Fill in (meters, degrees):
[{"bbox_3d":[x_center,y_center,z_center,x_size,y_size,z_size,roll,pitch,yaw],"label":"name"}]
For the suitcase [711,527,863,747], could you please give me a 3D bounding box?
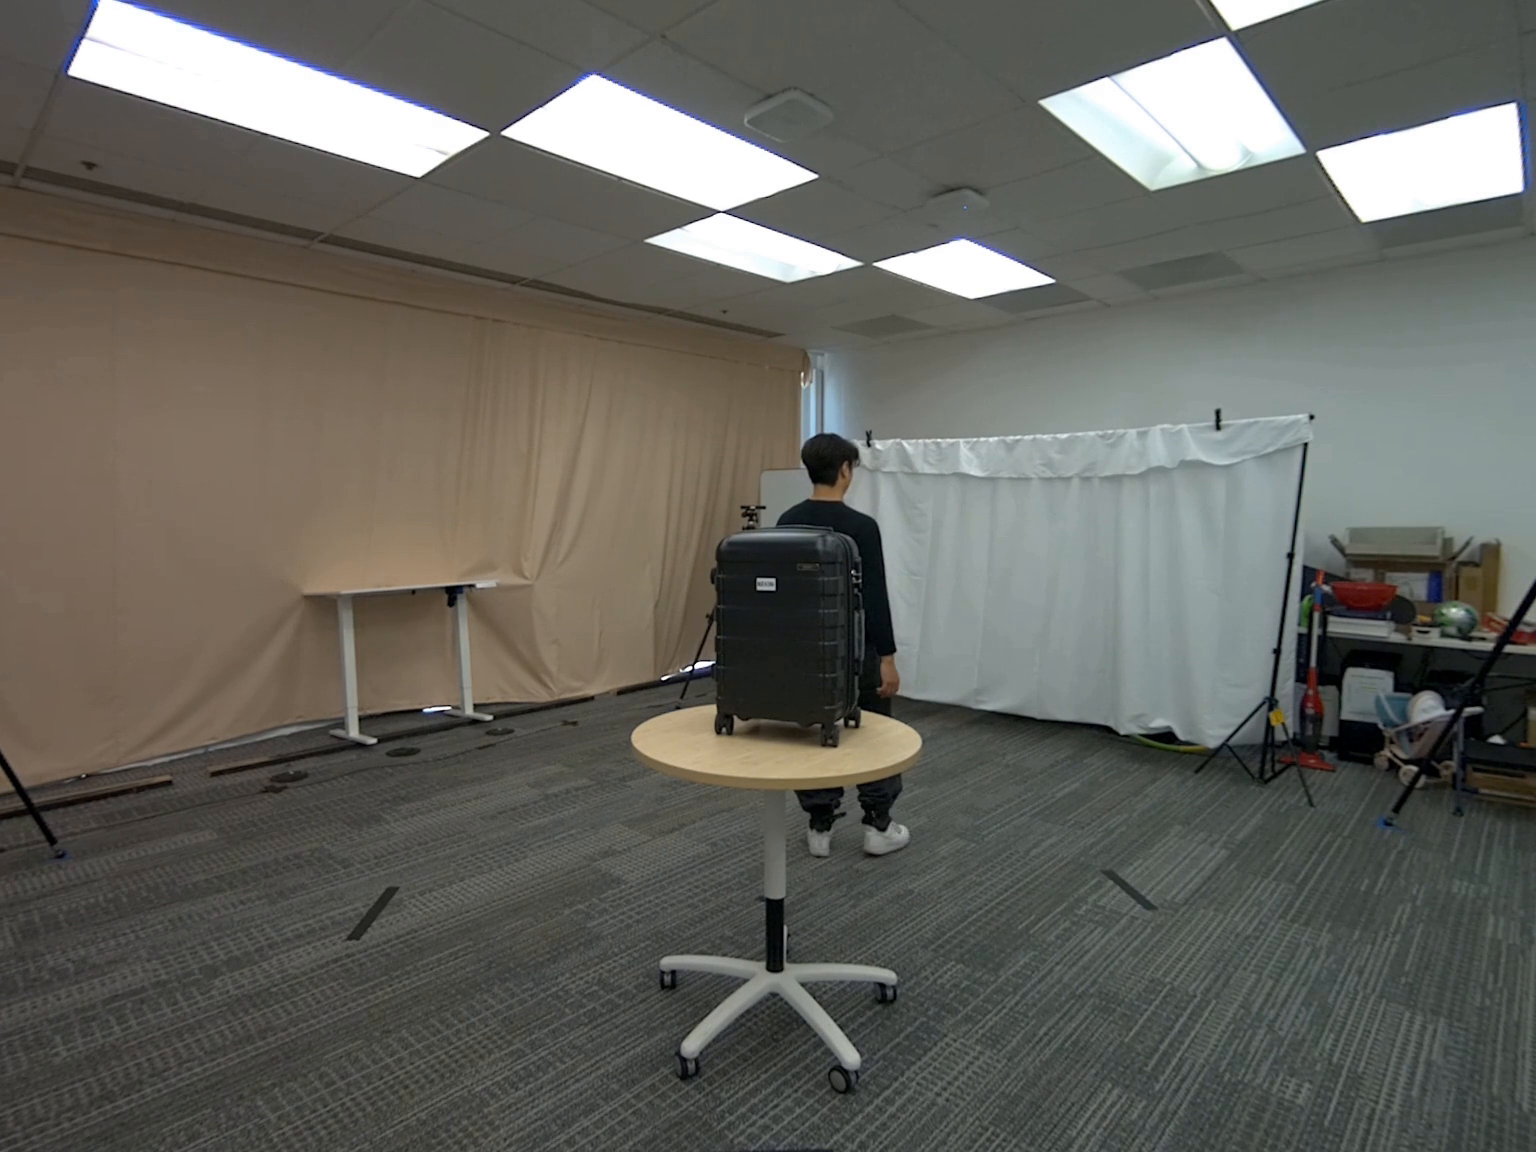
[{"bbox_3d":[0.056,0.146,2.252,0.385,0.548,0.243,2,4,24],"label":"suitcase"}]
